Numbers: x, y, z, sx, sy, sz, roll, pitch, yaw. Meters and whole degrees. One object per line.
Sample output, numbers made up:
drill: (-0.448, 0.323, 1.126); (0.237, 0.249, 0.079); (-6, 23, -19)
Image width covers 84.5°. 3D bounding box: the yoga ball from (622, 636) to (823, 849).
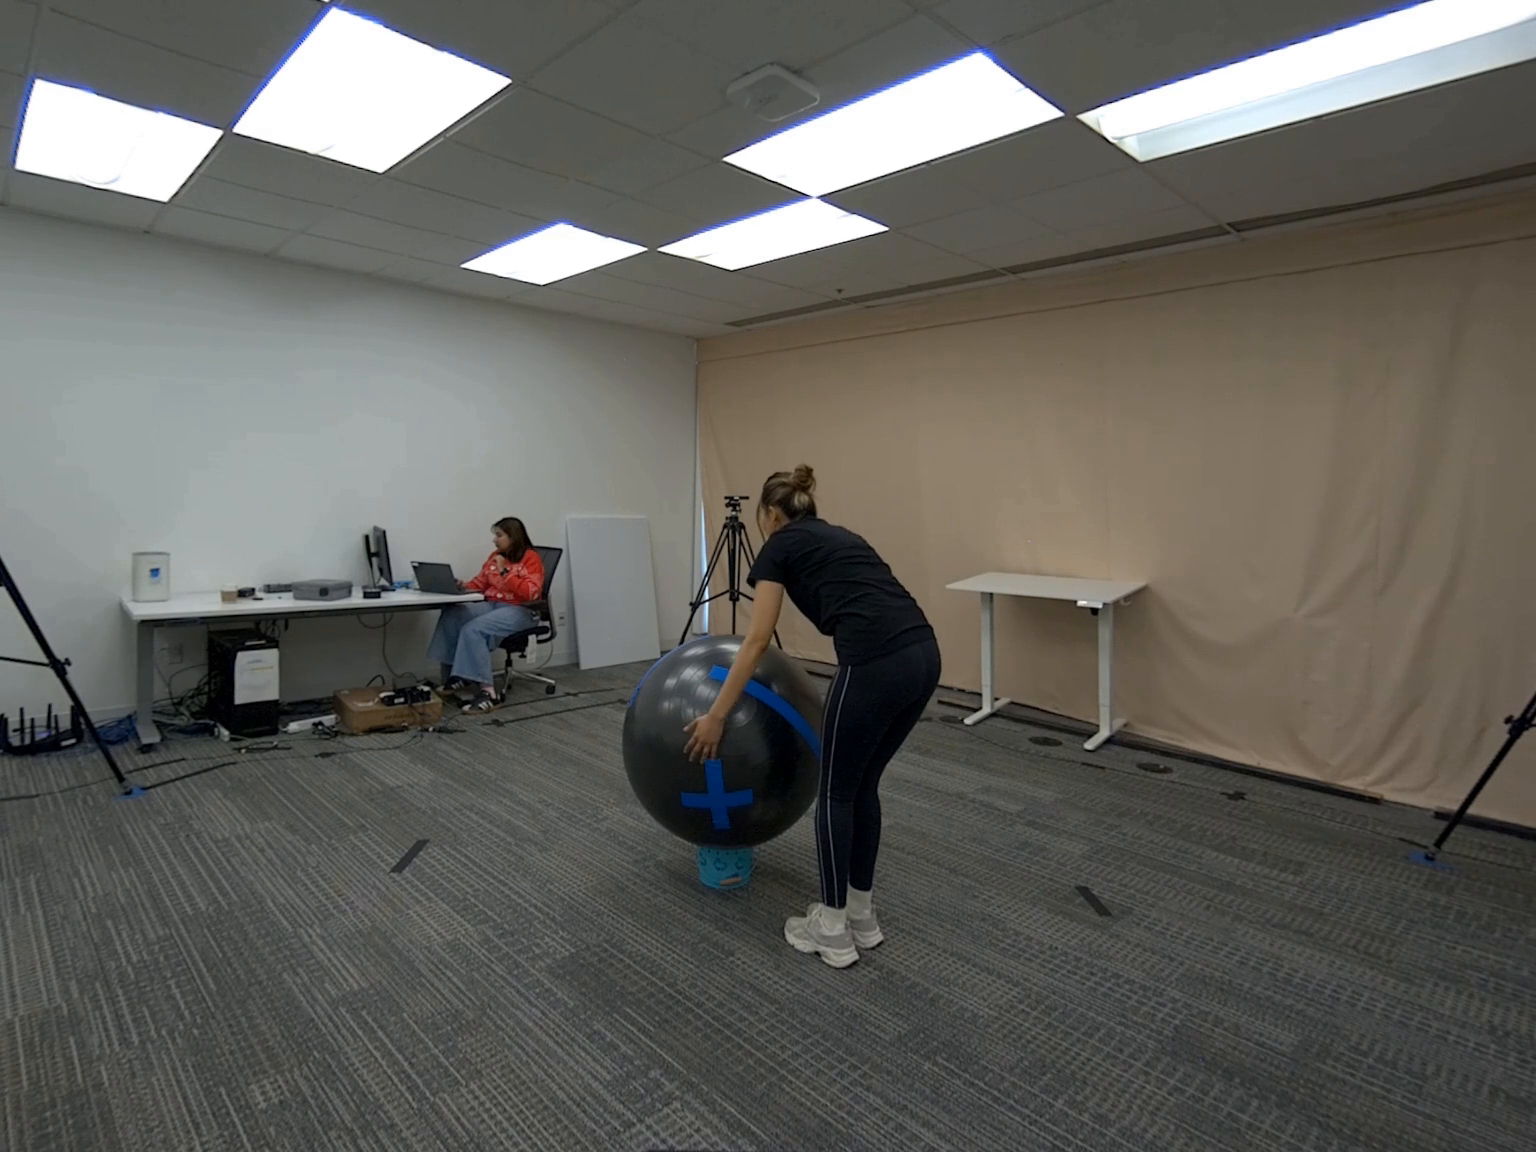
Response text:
yoga ball: (-0.155, 0.599, 3.065); (0.757, 0.756, 0.761); (1, 4, -1)
